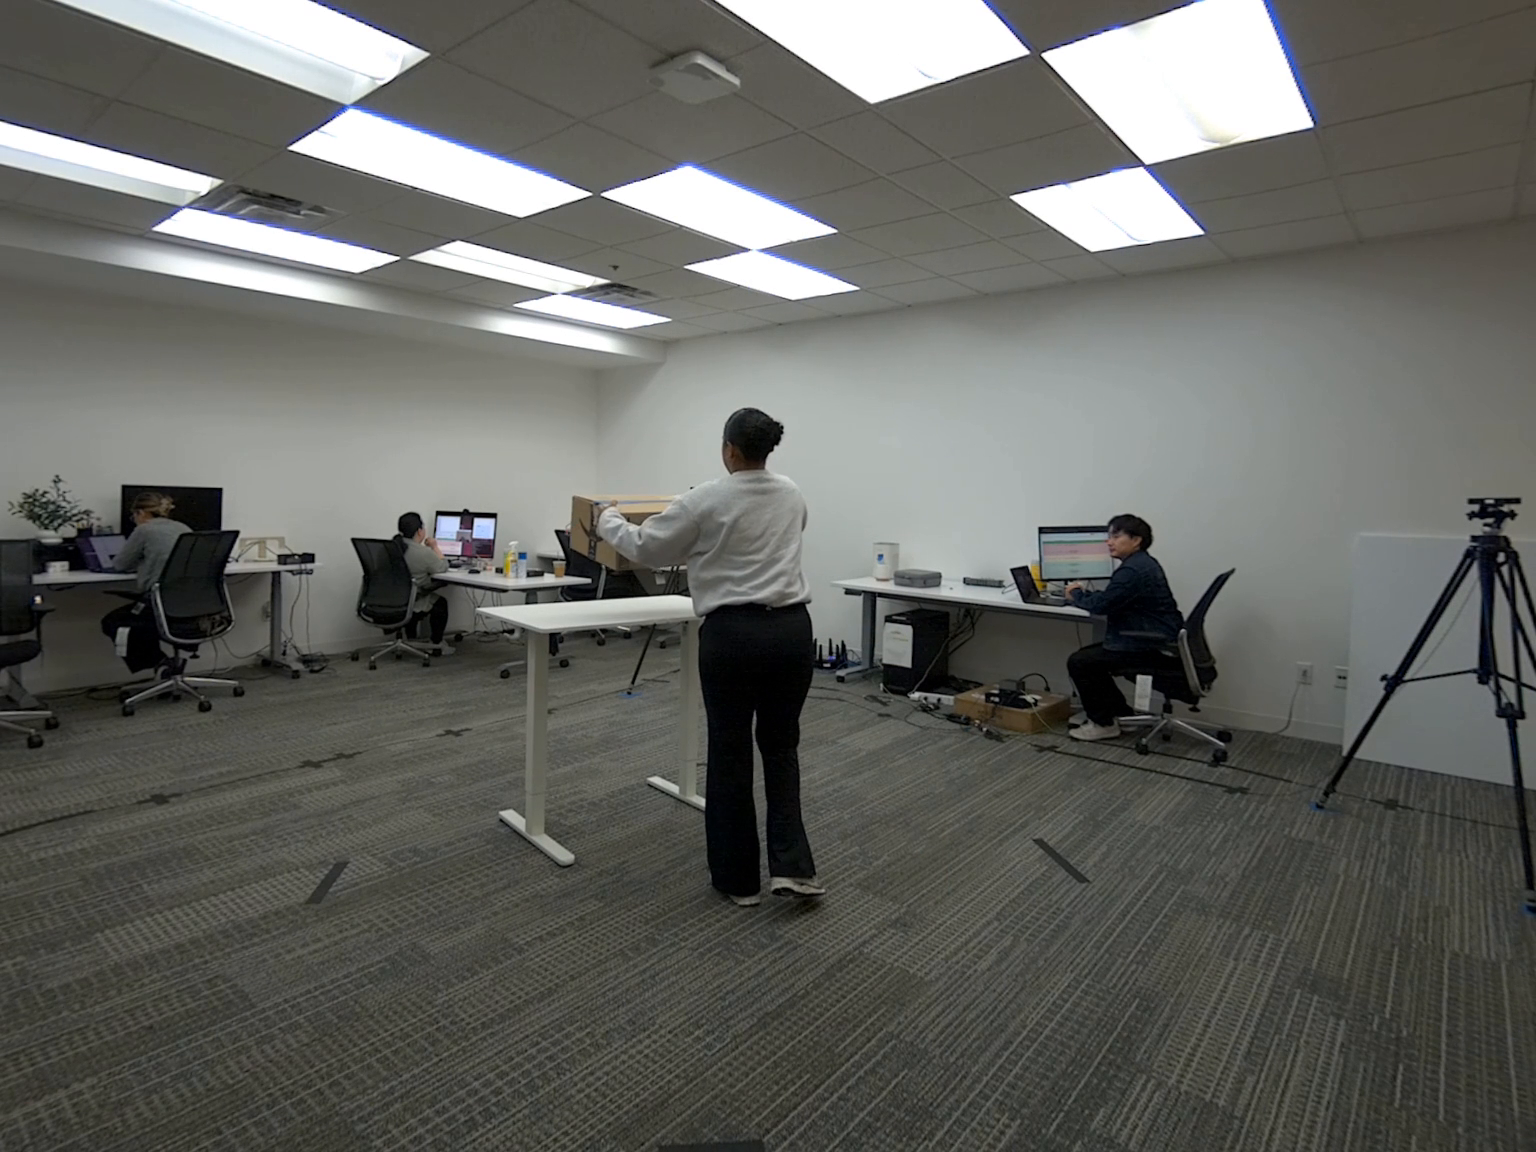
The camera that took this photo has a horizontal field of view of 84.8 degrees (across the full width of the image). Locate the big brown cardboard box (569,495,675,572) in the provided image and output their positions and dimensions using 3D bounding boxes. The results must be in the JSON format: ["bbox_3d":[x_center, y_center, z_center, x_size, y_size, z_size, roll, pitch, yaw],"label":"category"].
[{"bbox_3d":[-0.442,-0.183,3.383,0.573,0.231,0.433,-5,15,-36],"label":"big brown cardboard box"}]
